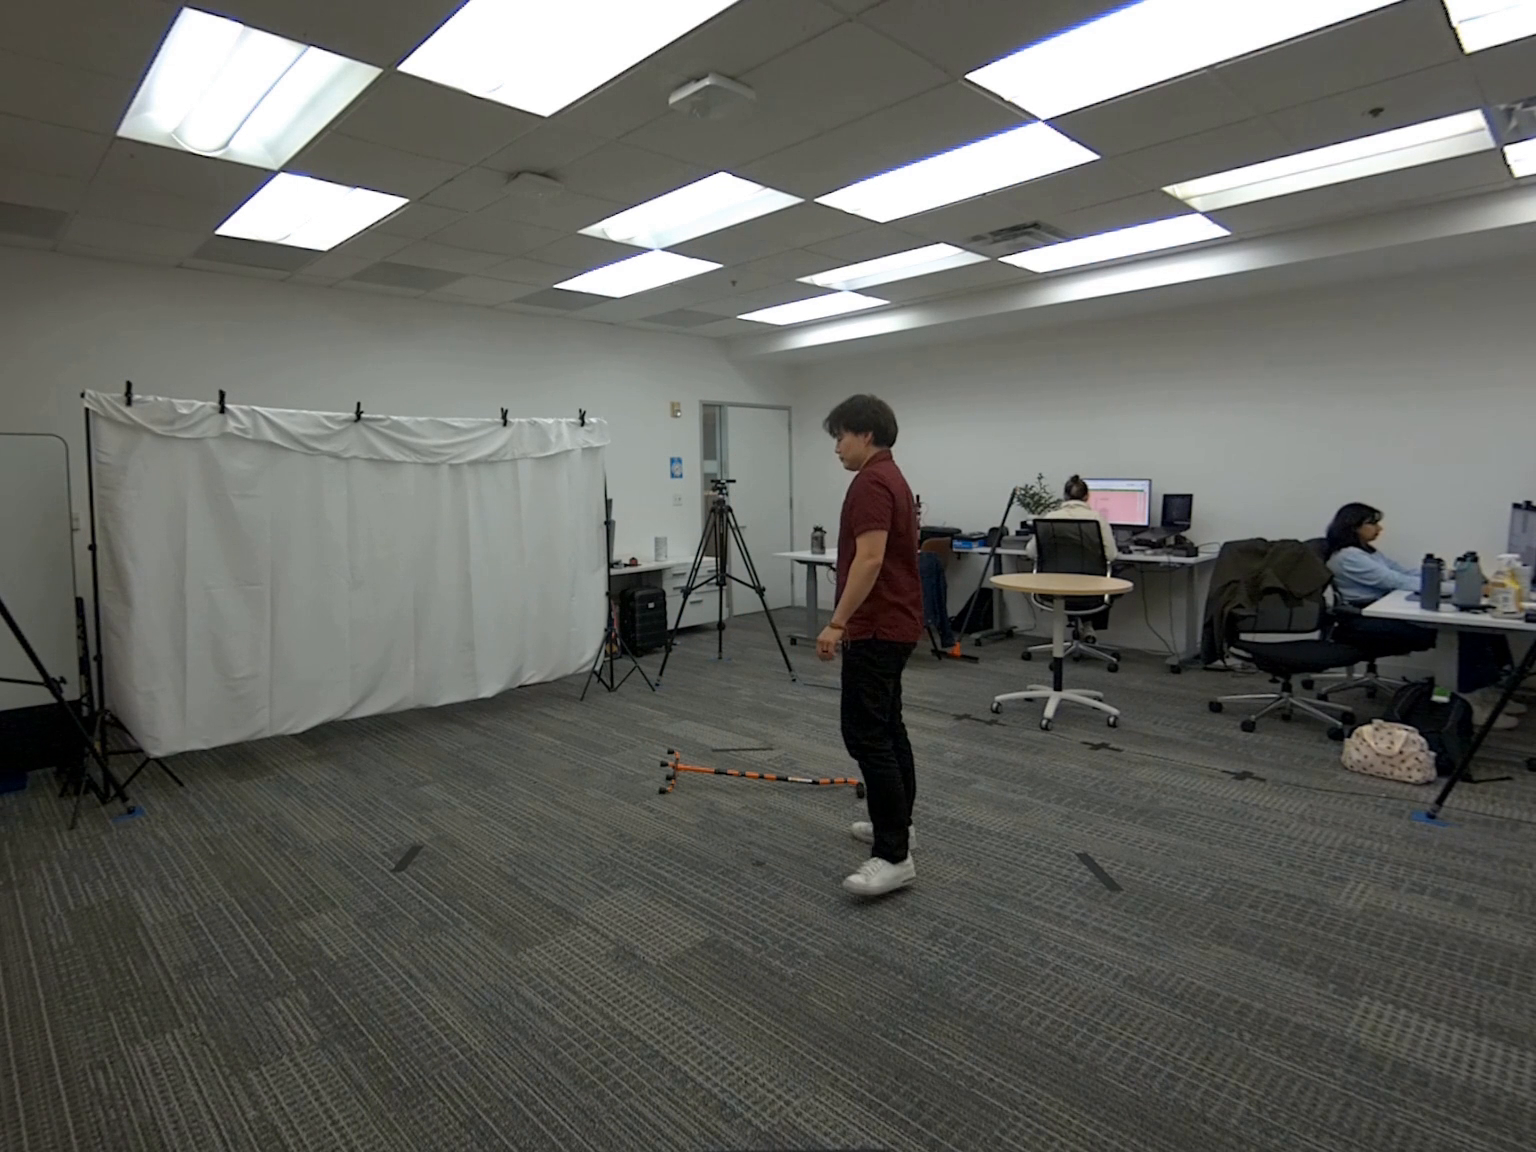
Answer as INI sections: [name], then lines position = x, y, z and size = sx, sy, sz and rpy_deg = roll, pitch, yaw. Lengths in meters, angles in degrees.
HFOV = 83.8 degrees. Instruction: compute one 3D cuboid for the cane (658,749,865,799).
[cane]
position = -0.026, 0.920, 3.874
size = 0.914, 0.151, 0.206
rpy_deg = 4, 6, 6
